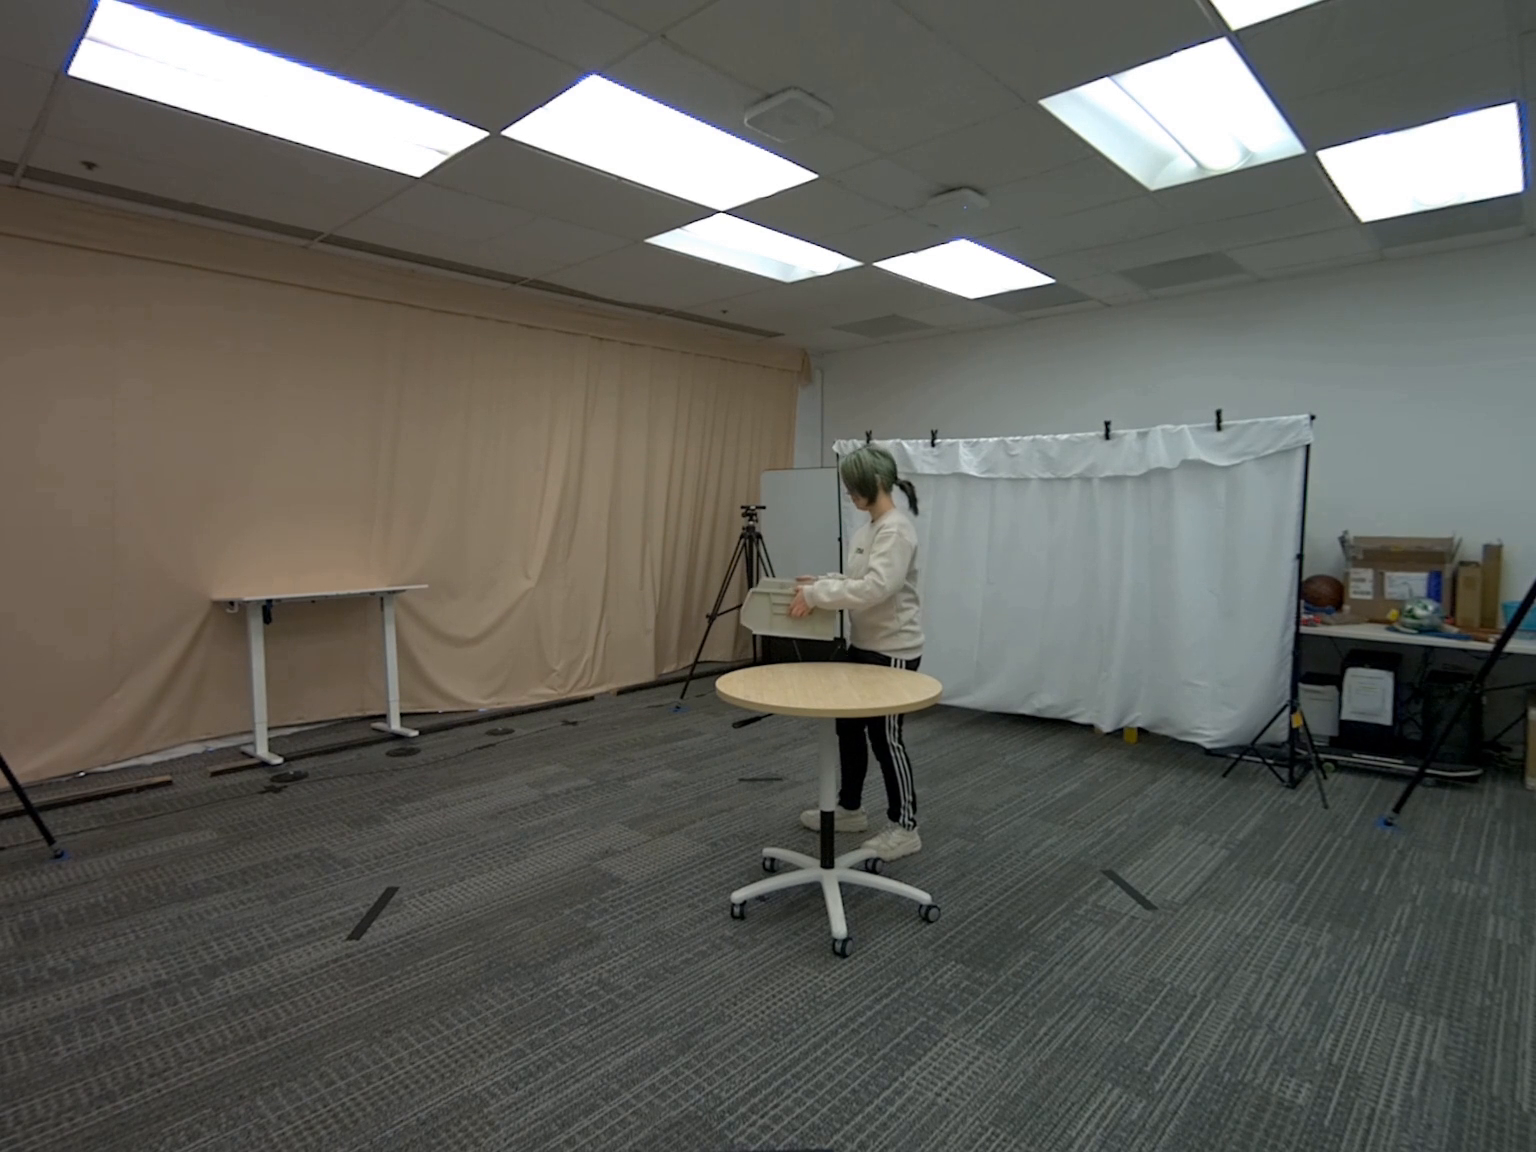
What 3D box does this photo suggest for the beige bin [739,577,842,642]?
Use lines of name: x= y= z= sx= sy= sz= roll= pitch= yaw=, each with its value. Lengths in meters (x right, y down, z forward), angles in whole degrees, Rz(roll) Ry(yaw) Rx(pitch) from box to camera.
beige bin: x=0.100 y=0.135 z=3.462 sx=0.381 sy=0.188 sz=0.419 roll=4 pitch=4 yaw=6
